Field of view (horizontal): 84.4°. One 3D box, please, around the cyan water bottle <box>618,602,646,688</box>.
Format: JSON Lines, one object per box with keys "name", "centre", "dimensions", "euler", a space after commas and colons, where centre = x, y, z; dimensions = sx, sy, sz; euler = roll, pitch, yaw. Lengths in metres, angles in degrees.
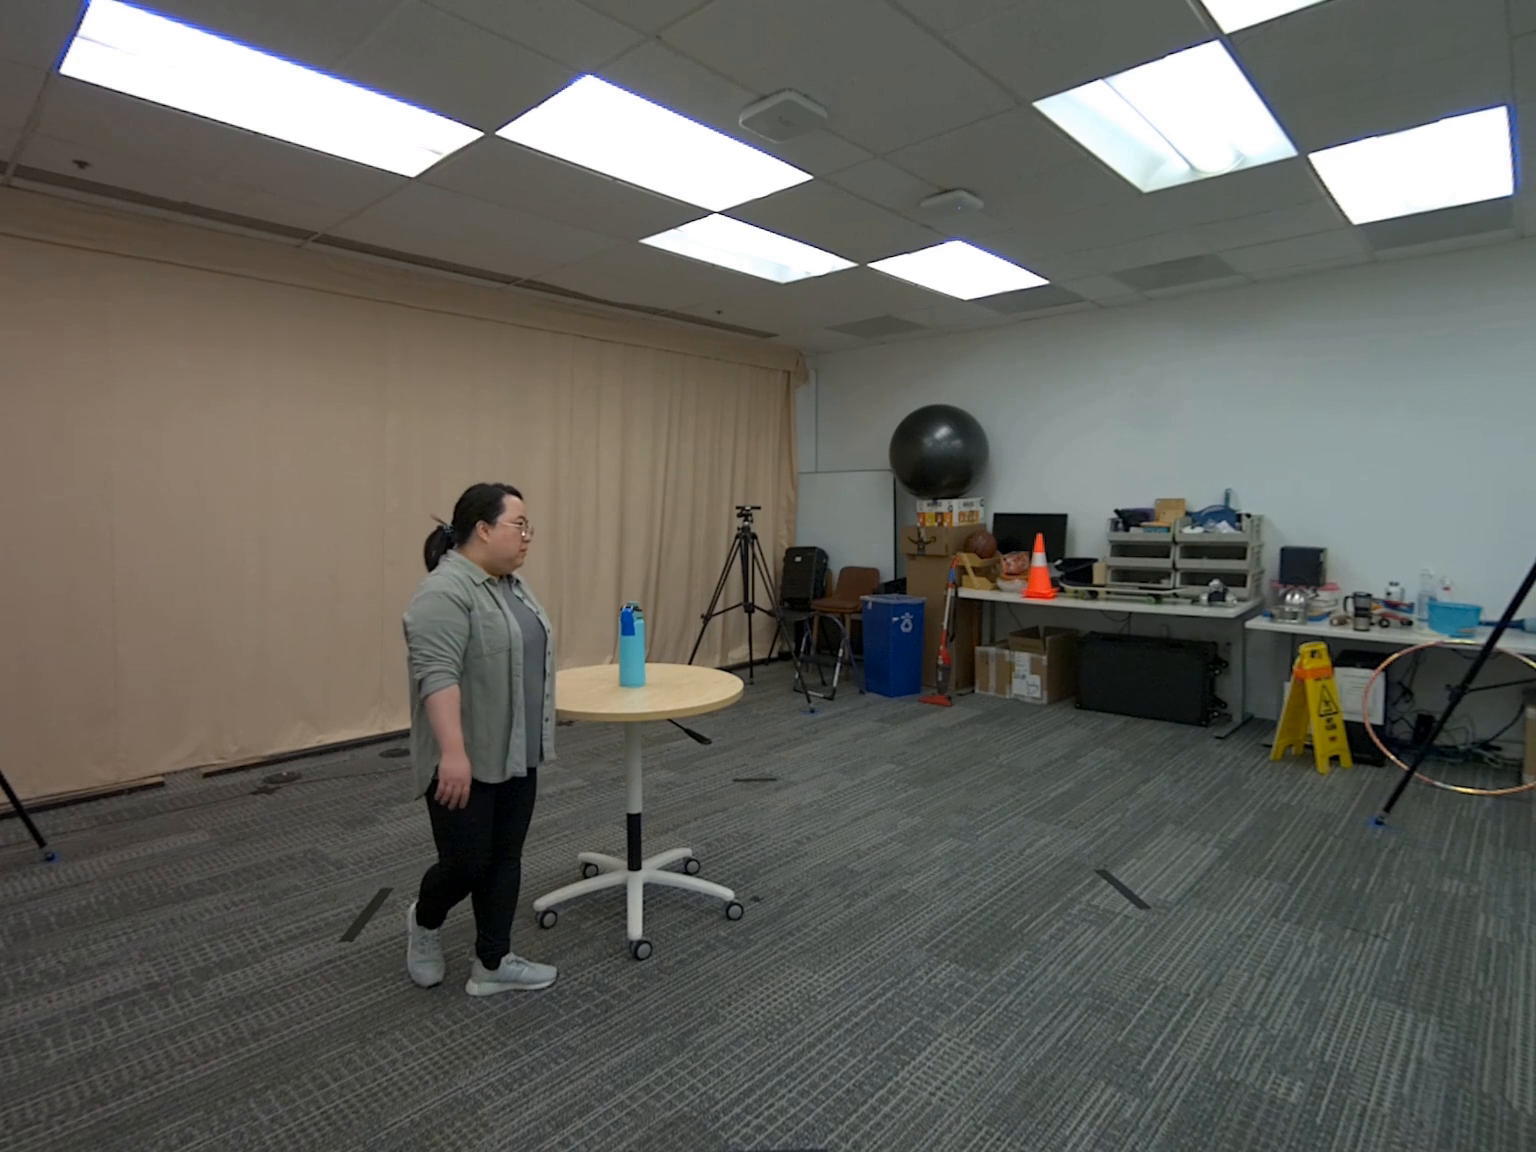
{"name": "cyan water bottle", "centre": [-0.463, 0.234, 2.876], "dimensions": [0.092, 0.282, 0.093], "euler": [1, 4, -2]}
